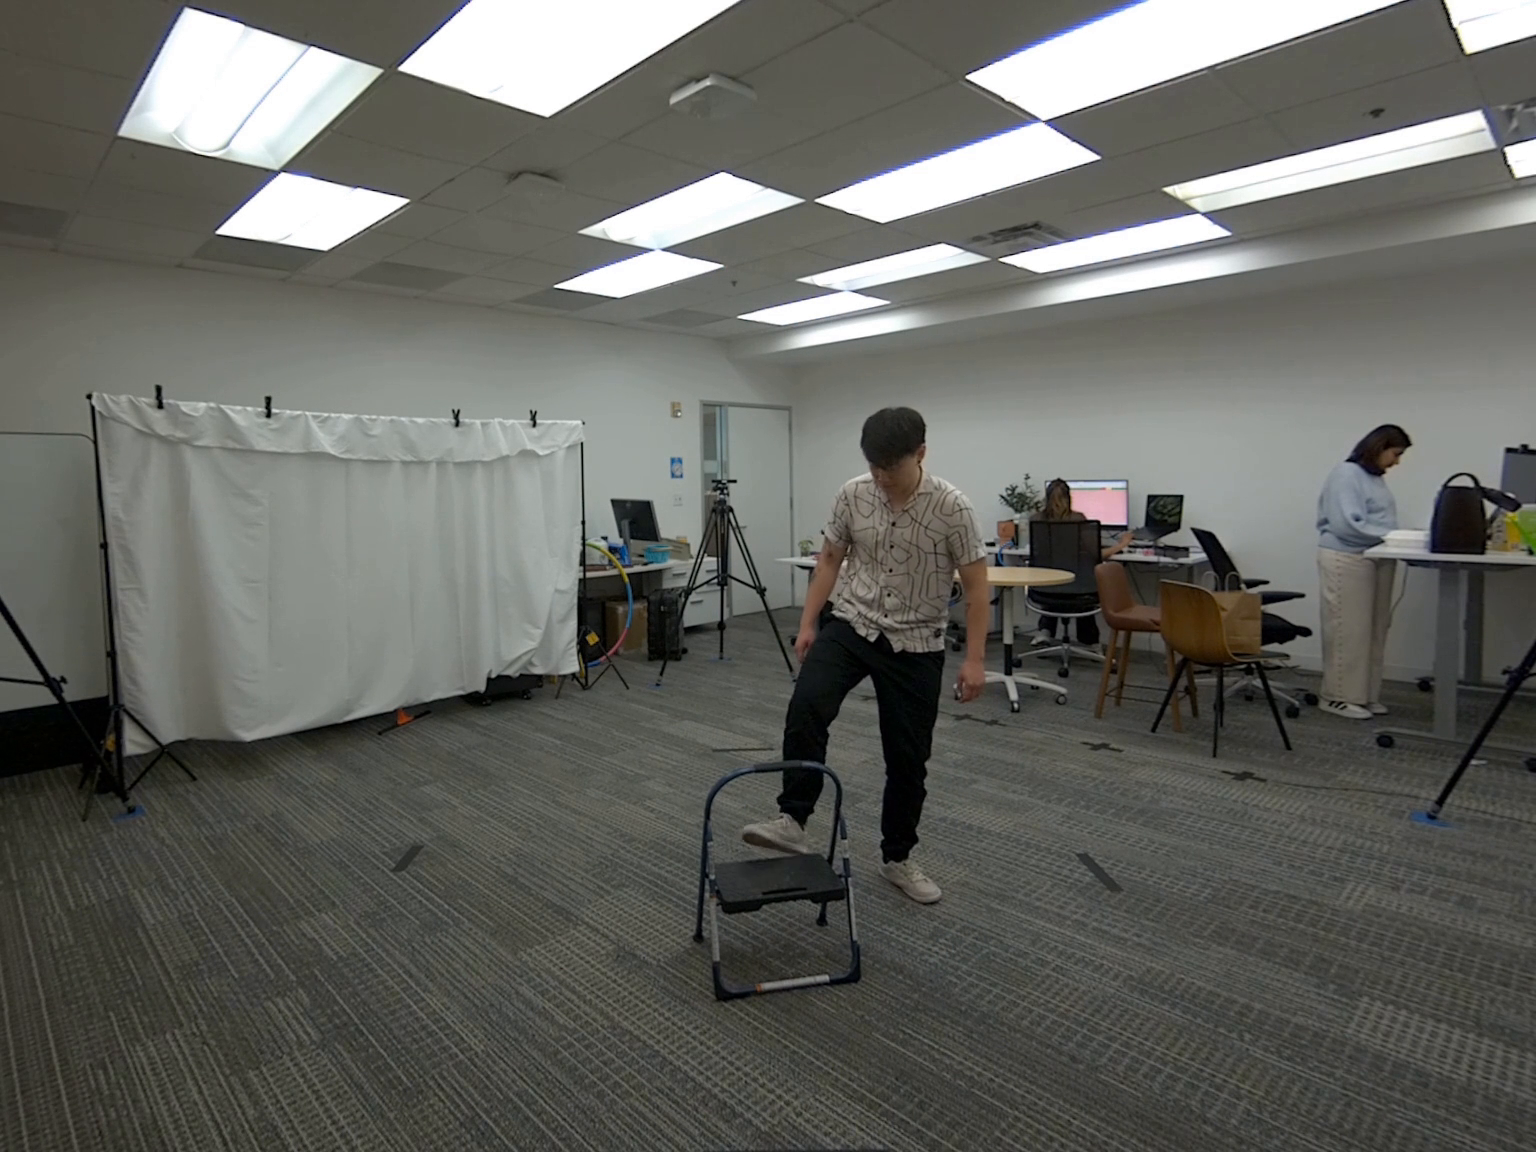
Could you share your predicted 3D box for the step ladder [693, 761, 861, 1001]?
[{"bbox_3d":[0.017,0.815,2.477,0.425,0.603,0.355,-2,5,-13],"label":"step ladder"}]
